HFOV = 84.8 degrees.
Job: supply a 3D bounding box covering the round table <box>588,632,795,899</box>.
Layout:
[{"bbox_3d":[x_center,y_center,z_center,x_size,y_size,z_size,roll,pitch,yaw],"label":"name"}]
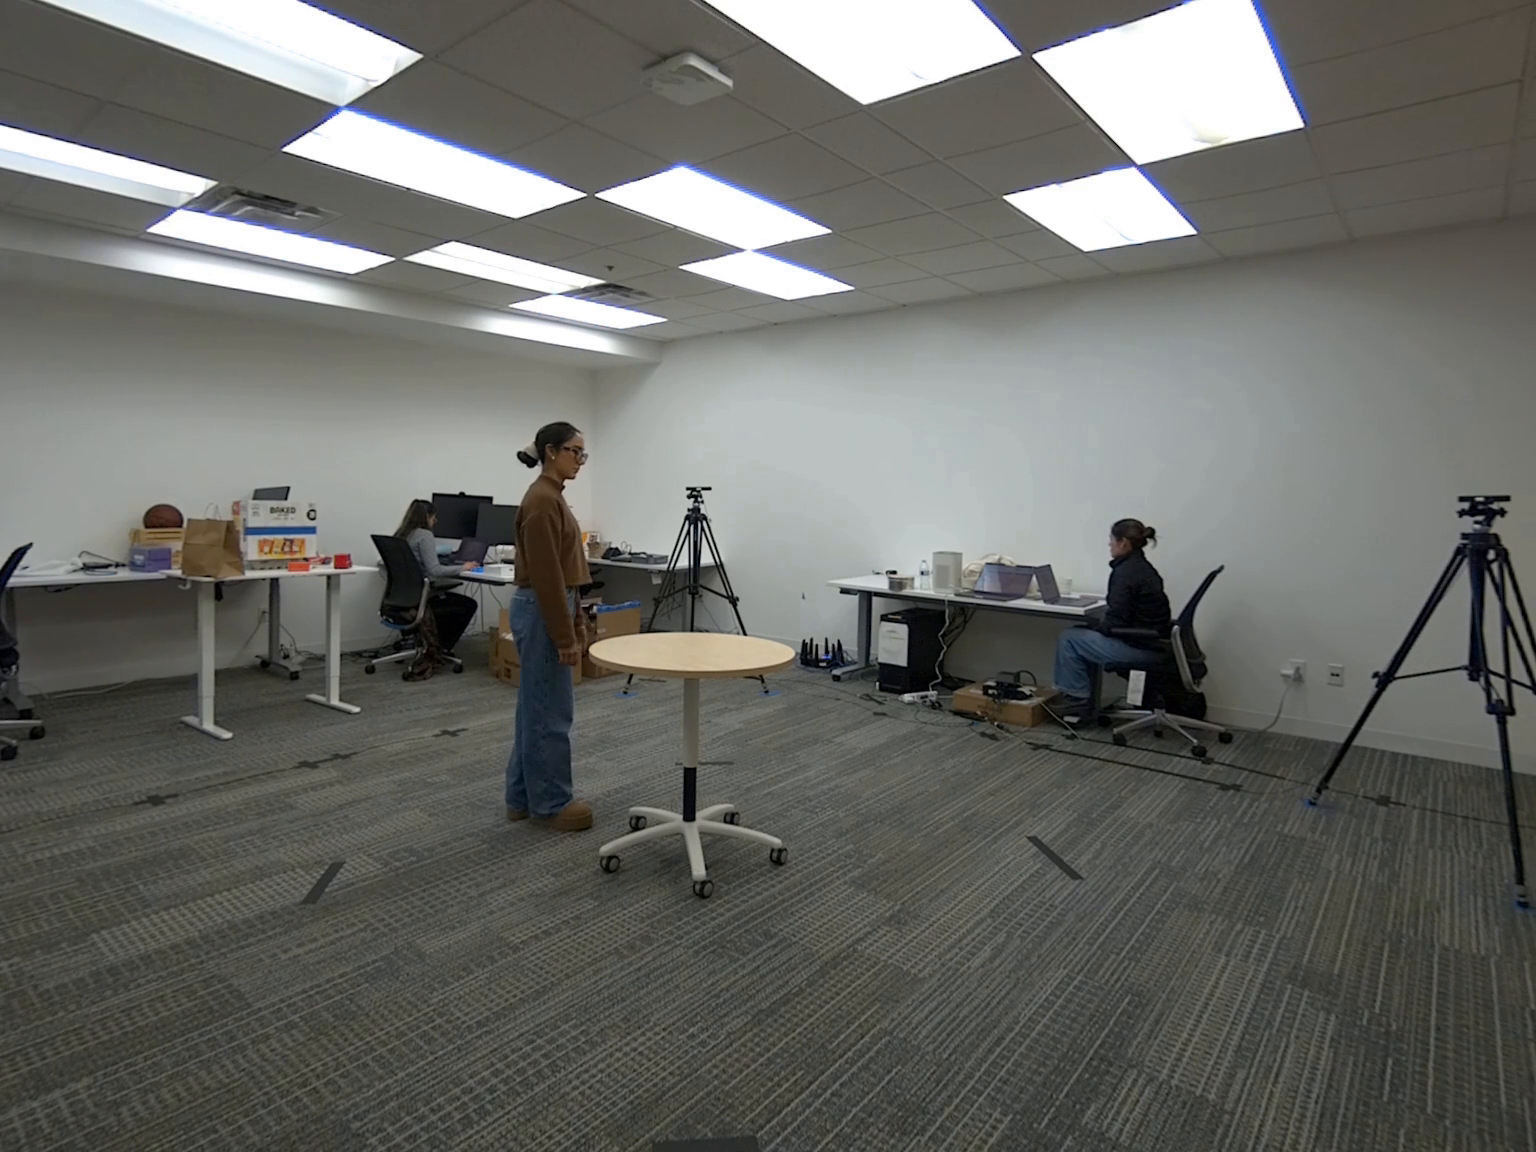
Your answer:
[{"bbox_3d":[-0.302,0.665,3.185,0.763,0.792,0.767,1,4,-2],"label":"round table"}]
